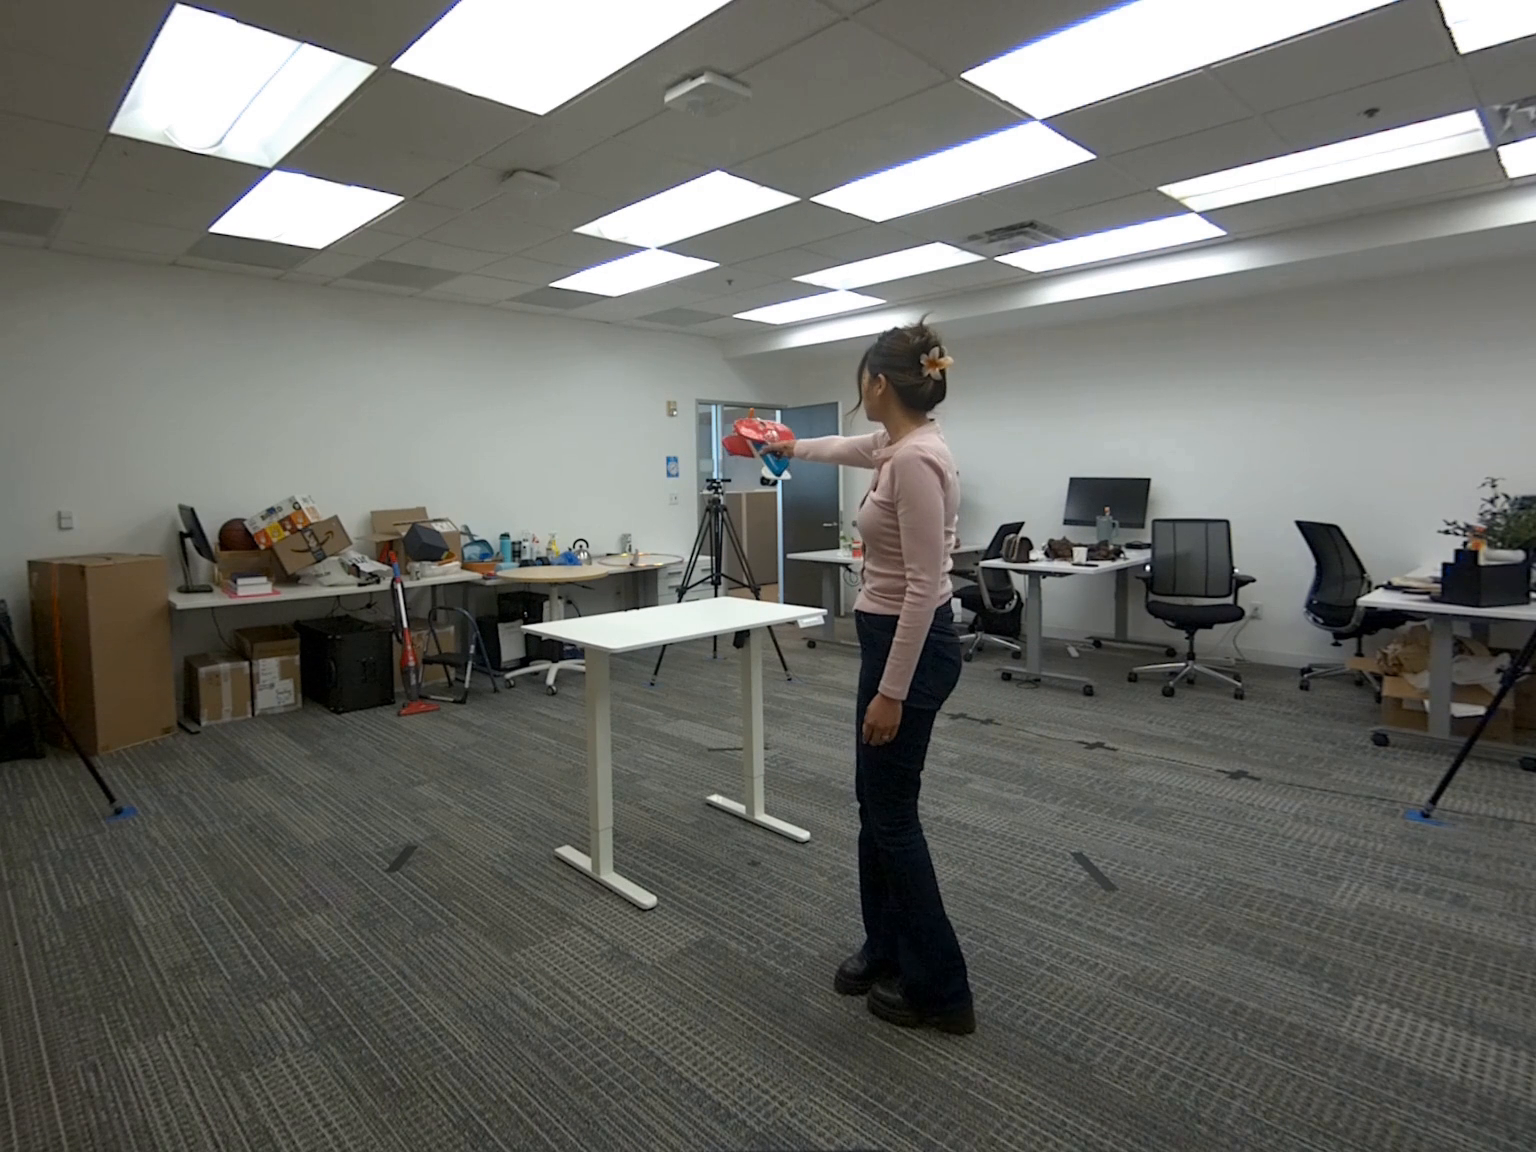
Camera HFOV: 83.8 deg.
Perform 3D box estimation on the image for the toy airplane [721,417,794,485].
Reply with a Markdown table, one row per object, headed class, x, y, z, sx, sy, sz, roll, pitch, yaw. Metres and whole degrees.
| class | x | y | z | sx | sy | sz | roll | pitch | yaw |
| --- | --- | --- | --- | --- | --- | --- | --- | --- | --- |
| toy airplane | -0.005 | -0.426 | 2.902 | 0.264 | 0.155 | 0.249 | 34 | 30 | 13 |
